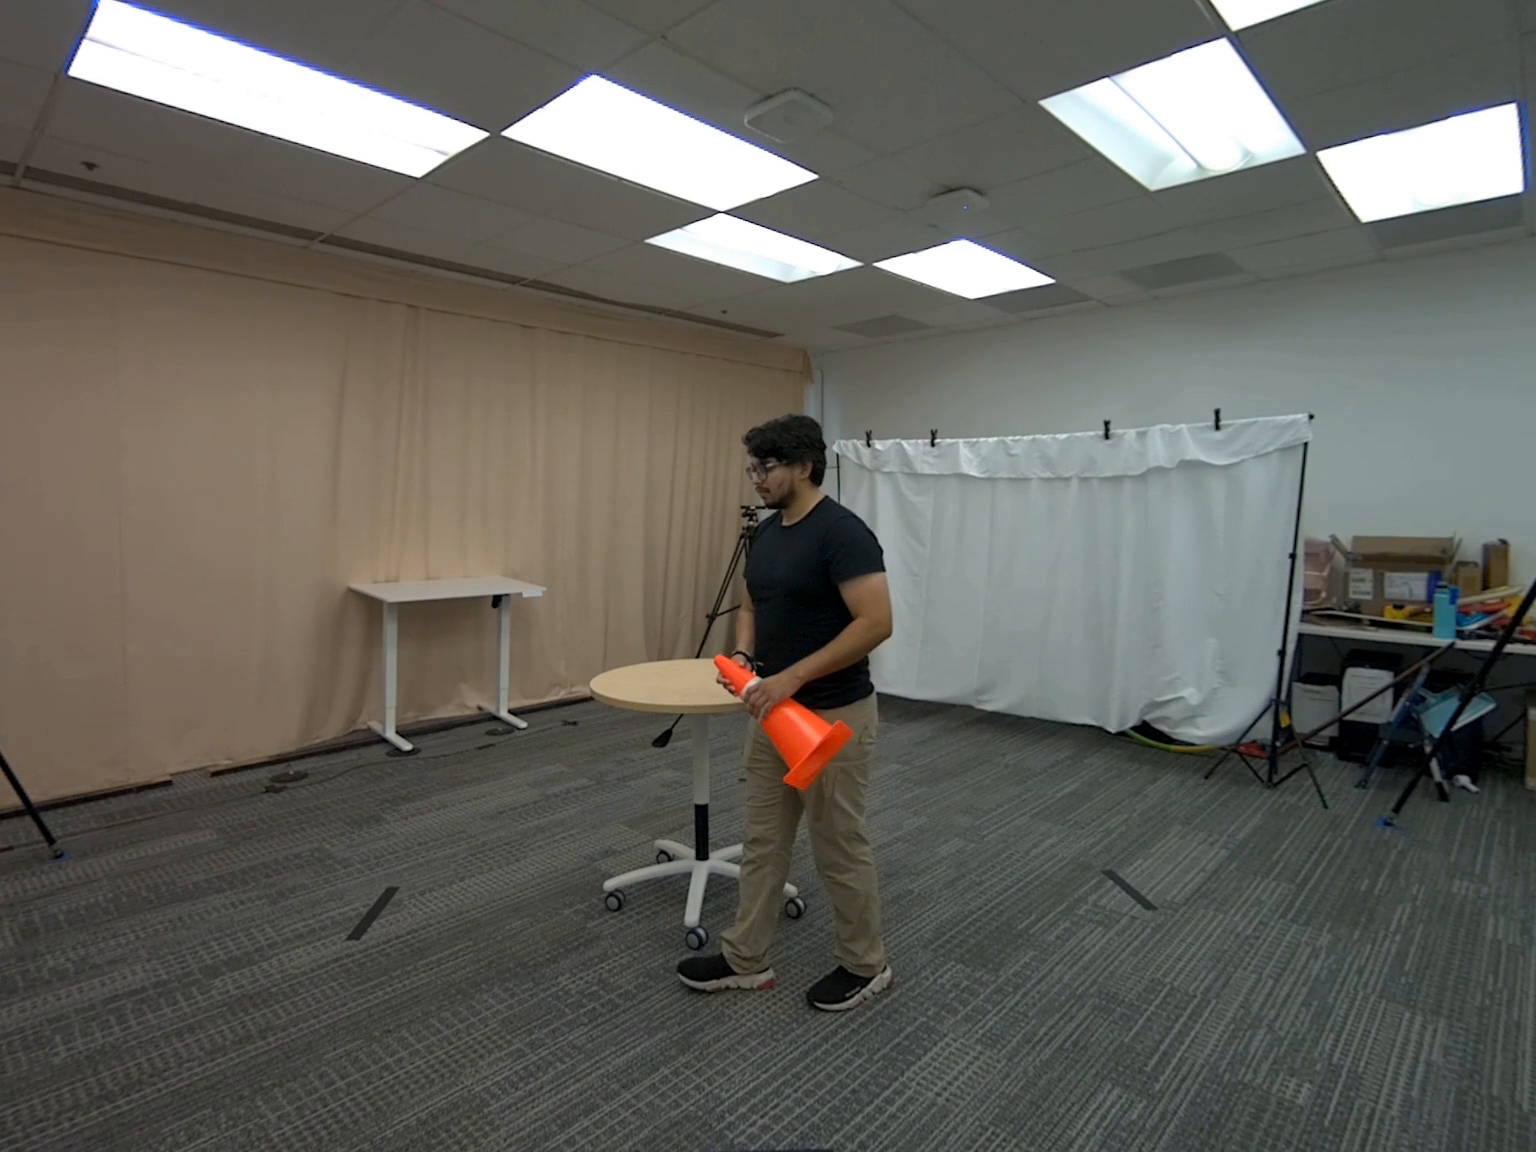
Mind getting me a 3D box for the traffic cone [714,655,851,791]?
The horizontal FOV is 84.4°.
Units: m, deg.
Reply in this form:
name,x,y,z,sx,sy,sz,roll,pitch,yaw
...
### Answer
name,x,y,z,sx,sy,sz,roll,pitch,yaw
traffic cone,-0.003,0.337,2.175,0.395,0.205,0.197,40,-1,27
